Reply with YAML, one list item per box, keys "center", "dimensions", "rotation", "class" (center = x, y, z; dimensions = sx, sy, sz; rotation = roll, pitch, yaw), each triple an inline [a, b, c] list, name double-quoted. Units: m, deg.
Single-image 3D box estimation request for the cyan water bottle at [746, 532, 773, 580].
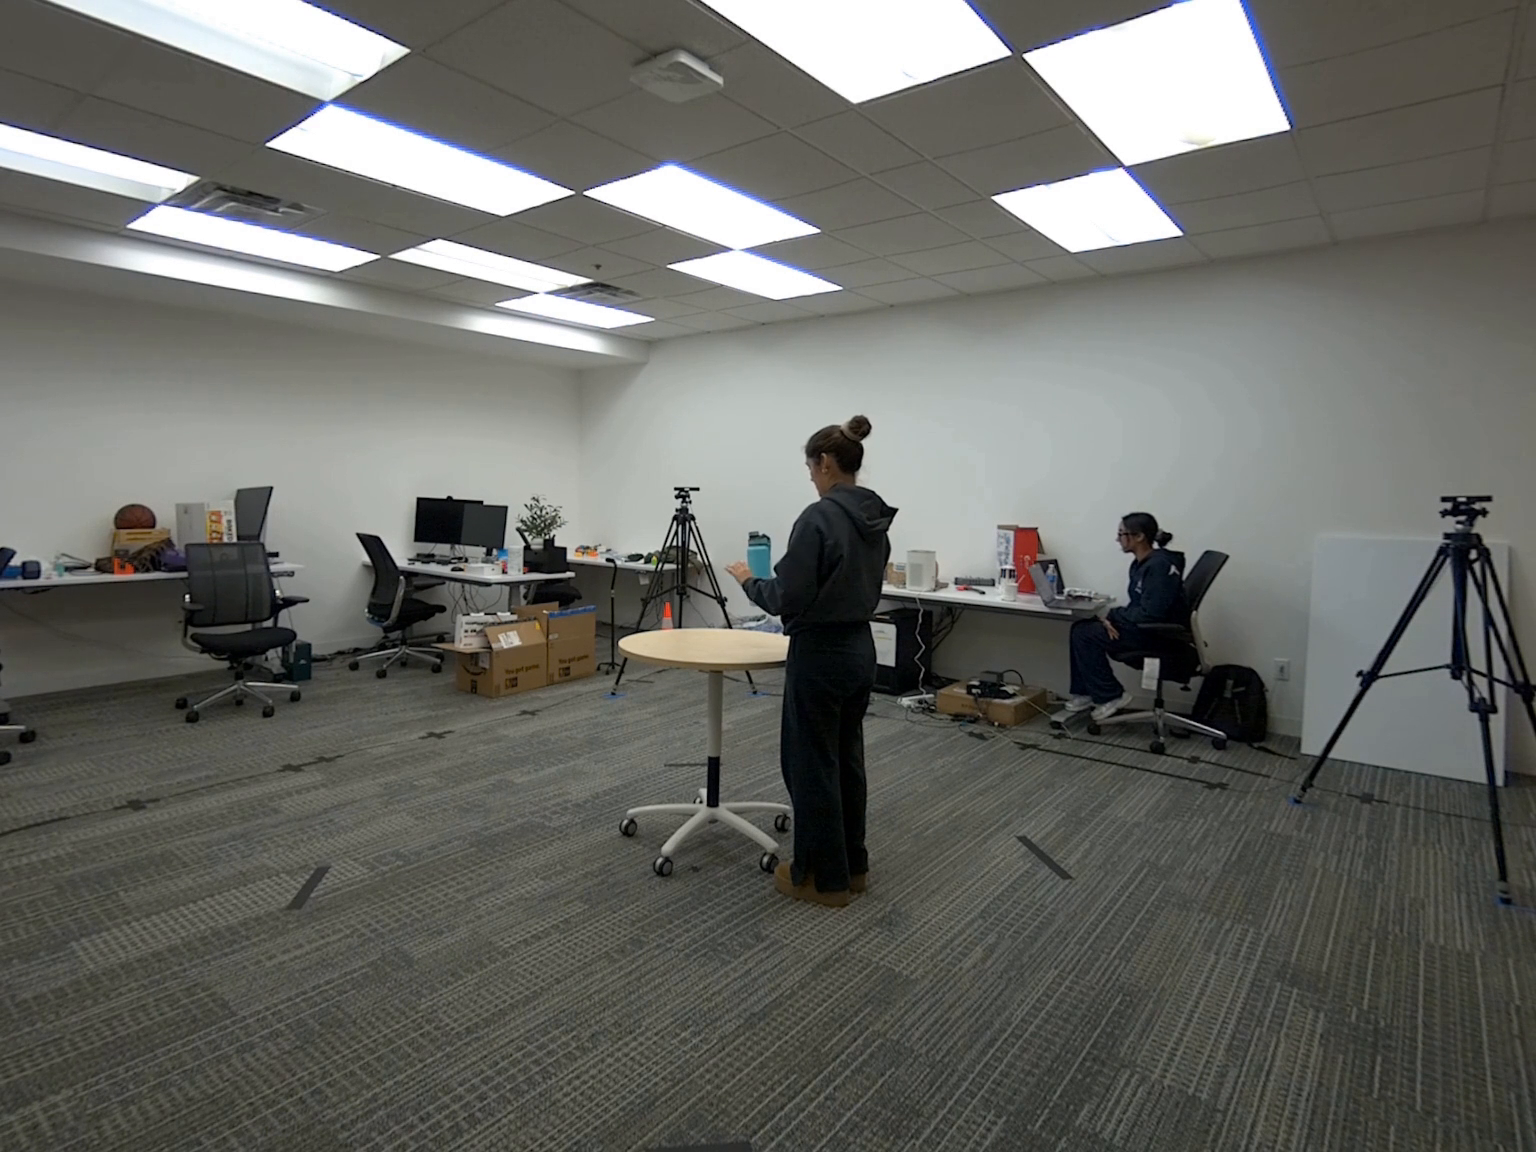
- center: [-0.032, -0.025, 3.231]
  dimensions: [0.092, 0.285, 0.092]
  rotation: [-2, -4, -2]
  class: "cyan water bottle"
